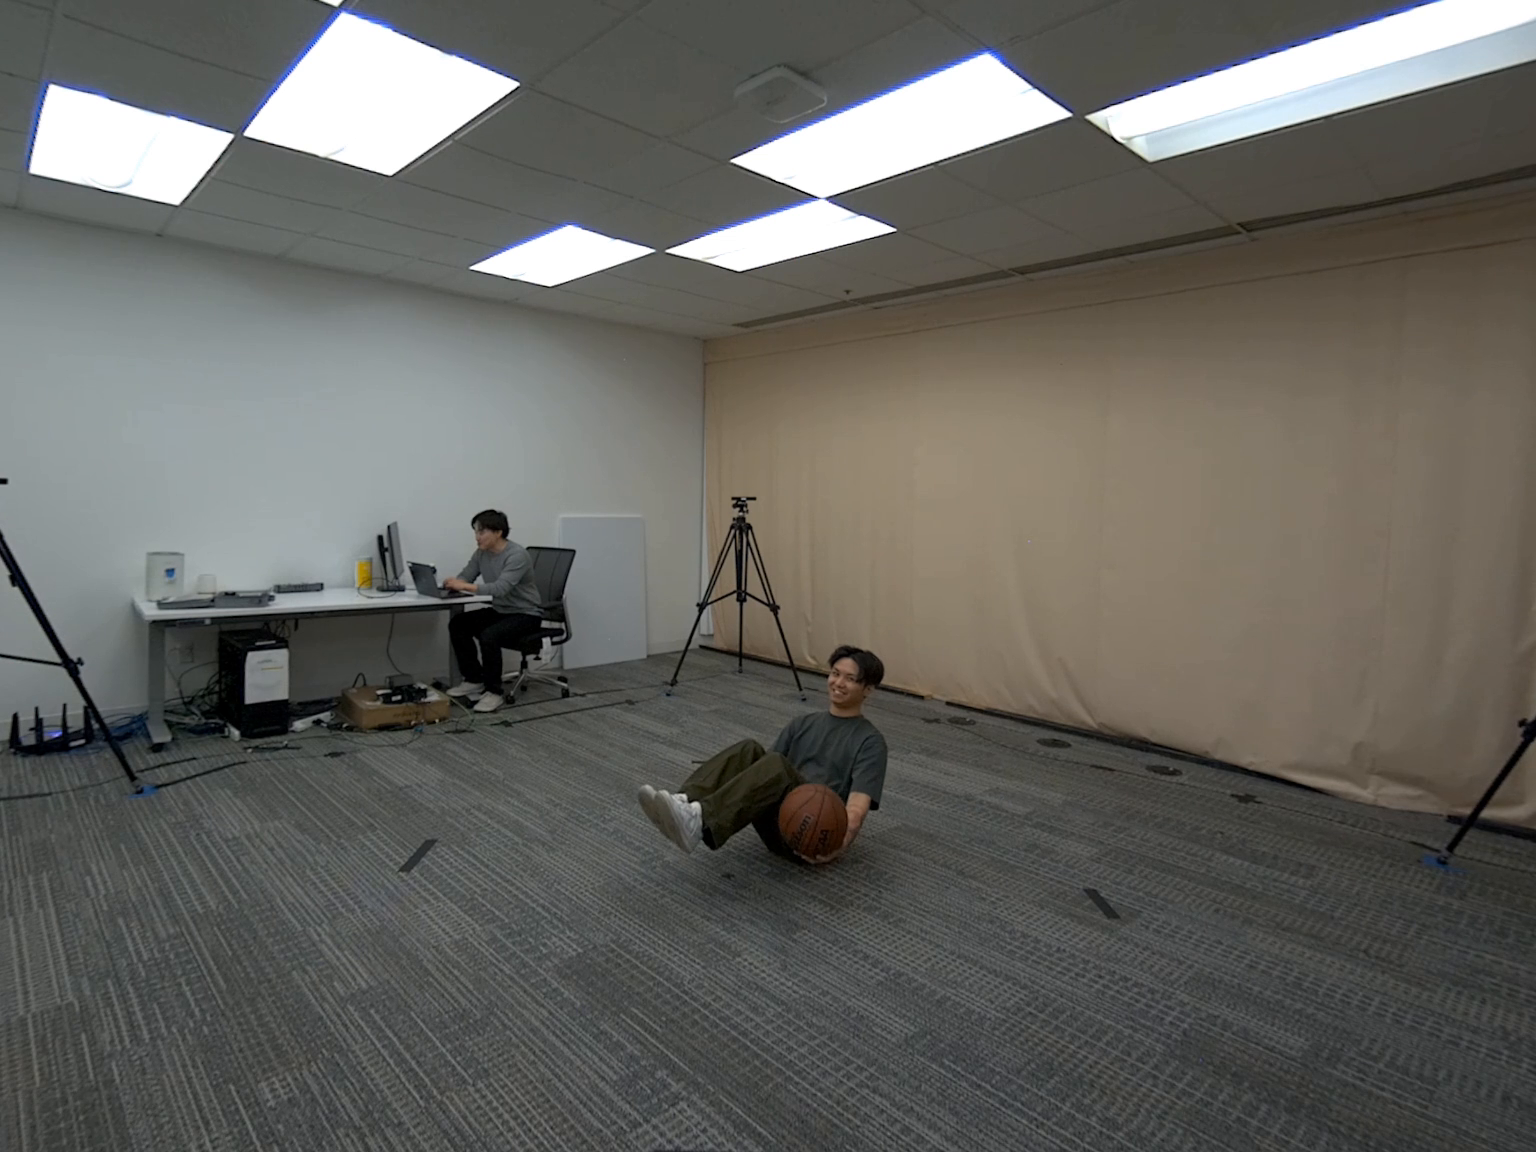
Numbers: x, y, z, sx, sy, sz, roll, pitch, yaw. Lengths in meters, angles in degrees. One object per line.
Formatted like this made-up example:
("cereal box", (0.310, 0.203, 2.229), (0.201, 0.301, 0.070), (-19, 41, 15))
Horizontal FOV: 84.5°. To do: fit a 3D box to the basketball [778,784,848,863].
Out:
("basketball", (0.139, 0.825, 2.878), (0.236, 0.235, 0.237), (1, 4, -1))
